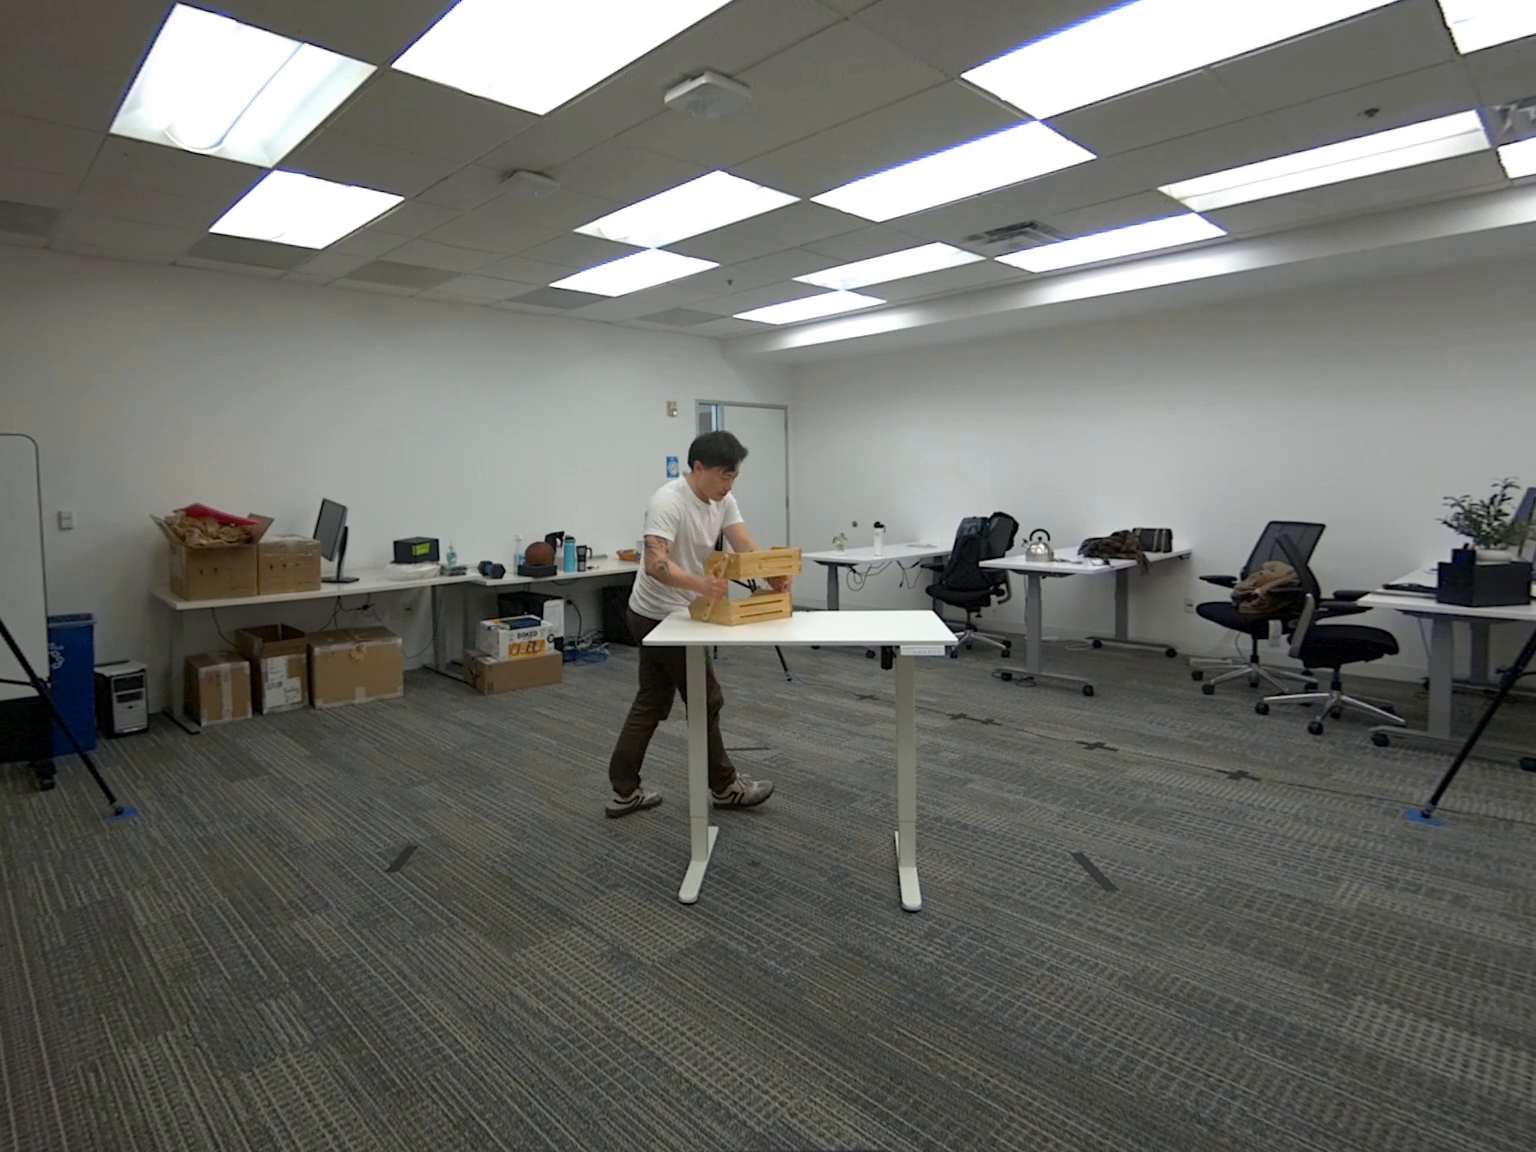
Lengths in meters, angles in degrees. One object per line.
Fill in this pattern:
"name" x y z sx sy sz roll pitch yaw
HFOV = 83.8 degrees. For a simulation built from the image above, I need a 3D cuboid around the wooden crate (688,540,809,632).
"wooden crate" -0.078 0.025 3.157 0.316 0.272 0.311 -6 8 -41
